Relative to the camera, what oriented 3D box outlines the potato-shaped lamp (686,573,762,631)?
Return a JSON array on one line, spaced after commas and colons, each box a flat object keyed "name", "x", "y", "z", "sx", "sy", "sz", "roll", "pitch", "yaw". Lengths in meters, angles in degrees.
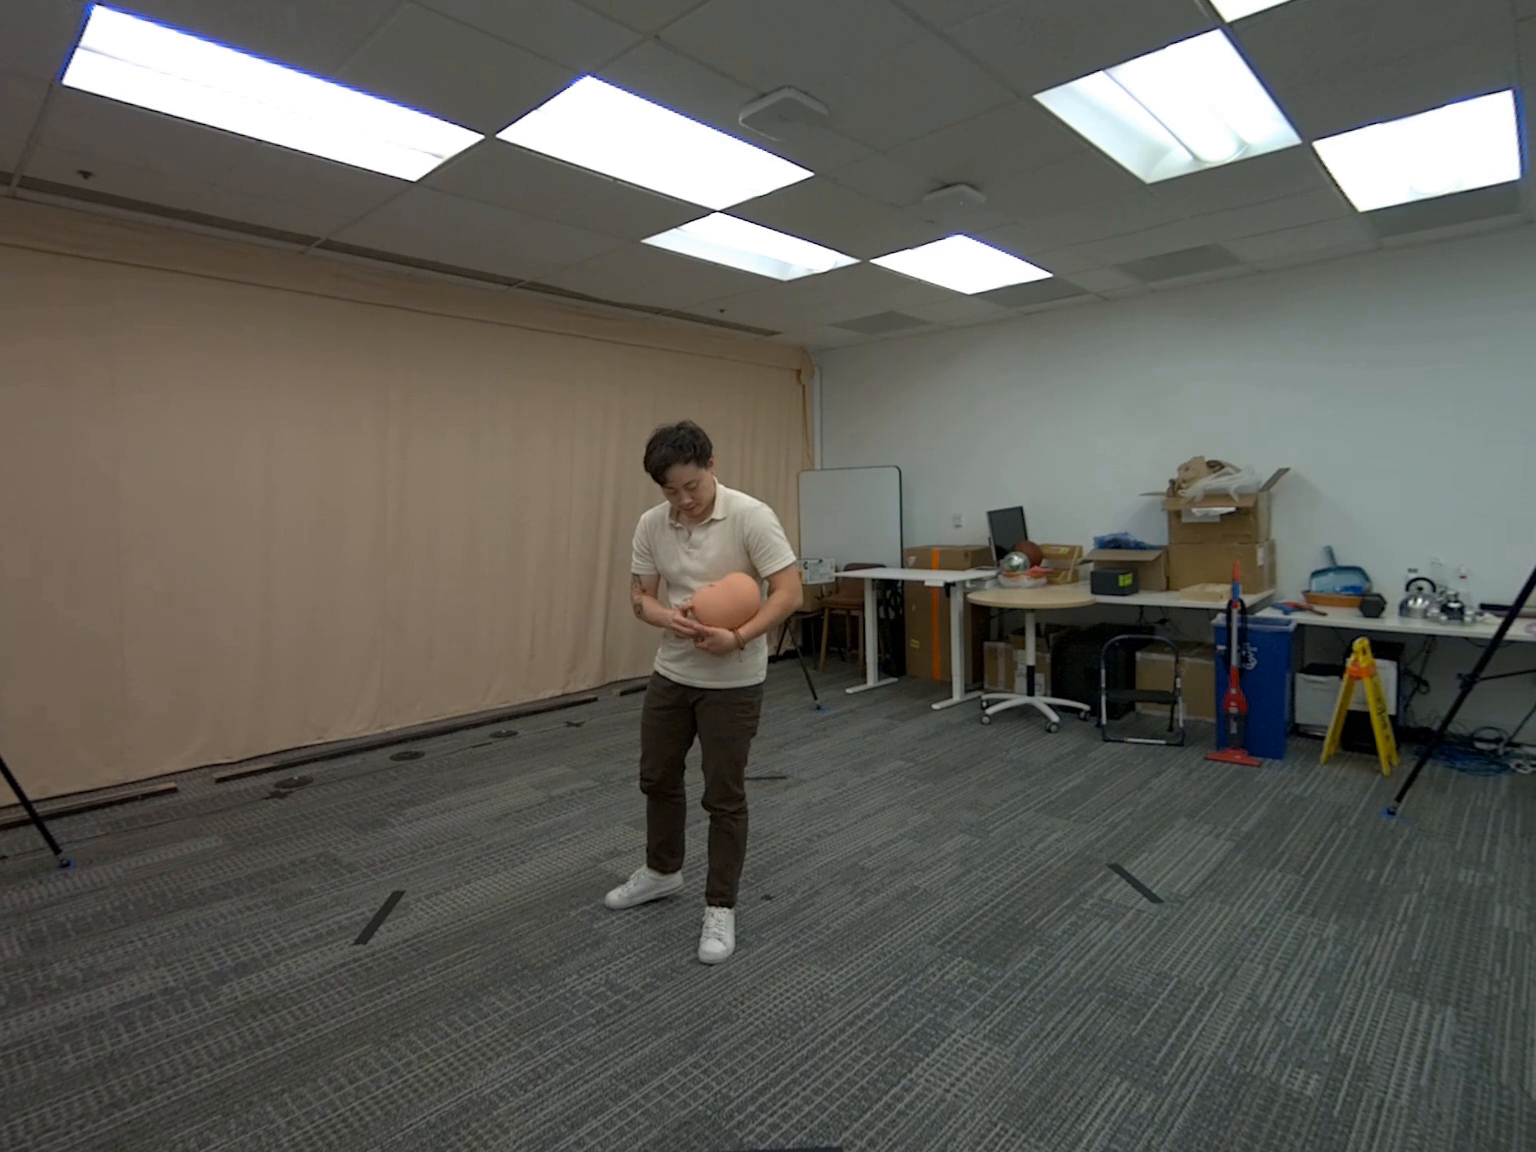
[{"name": "potato-shaped lamp", "x": -0.113, "y": 0.079, "z": 2.492, "sx": 0.176, "sy": 0.198, "sz": 0.160, "roll": 47, "pitch": 5, "yaw": 26}]
